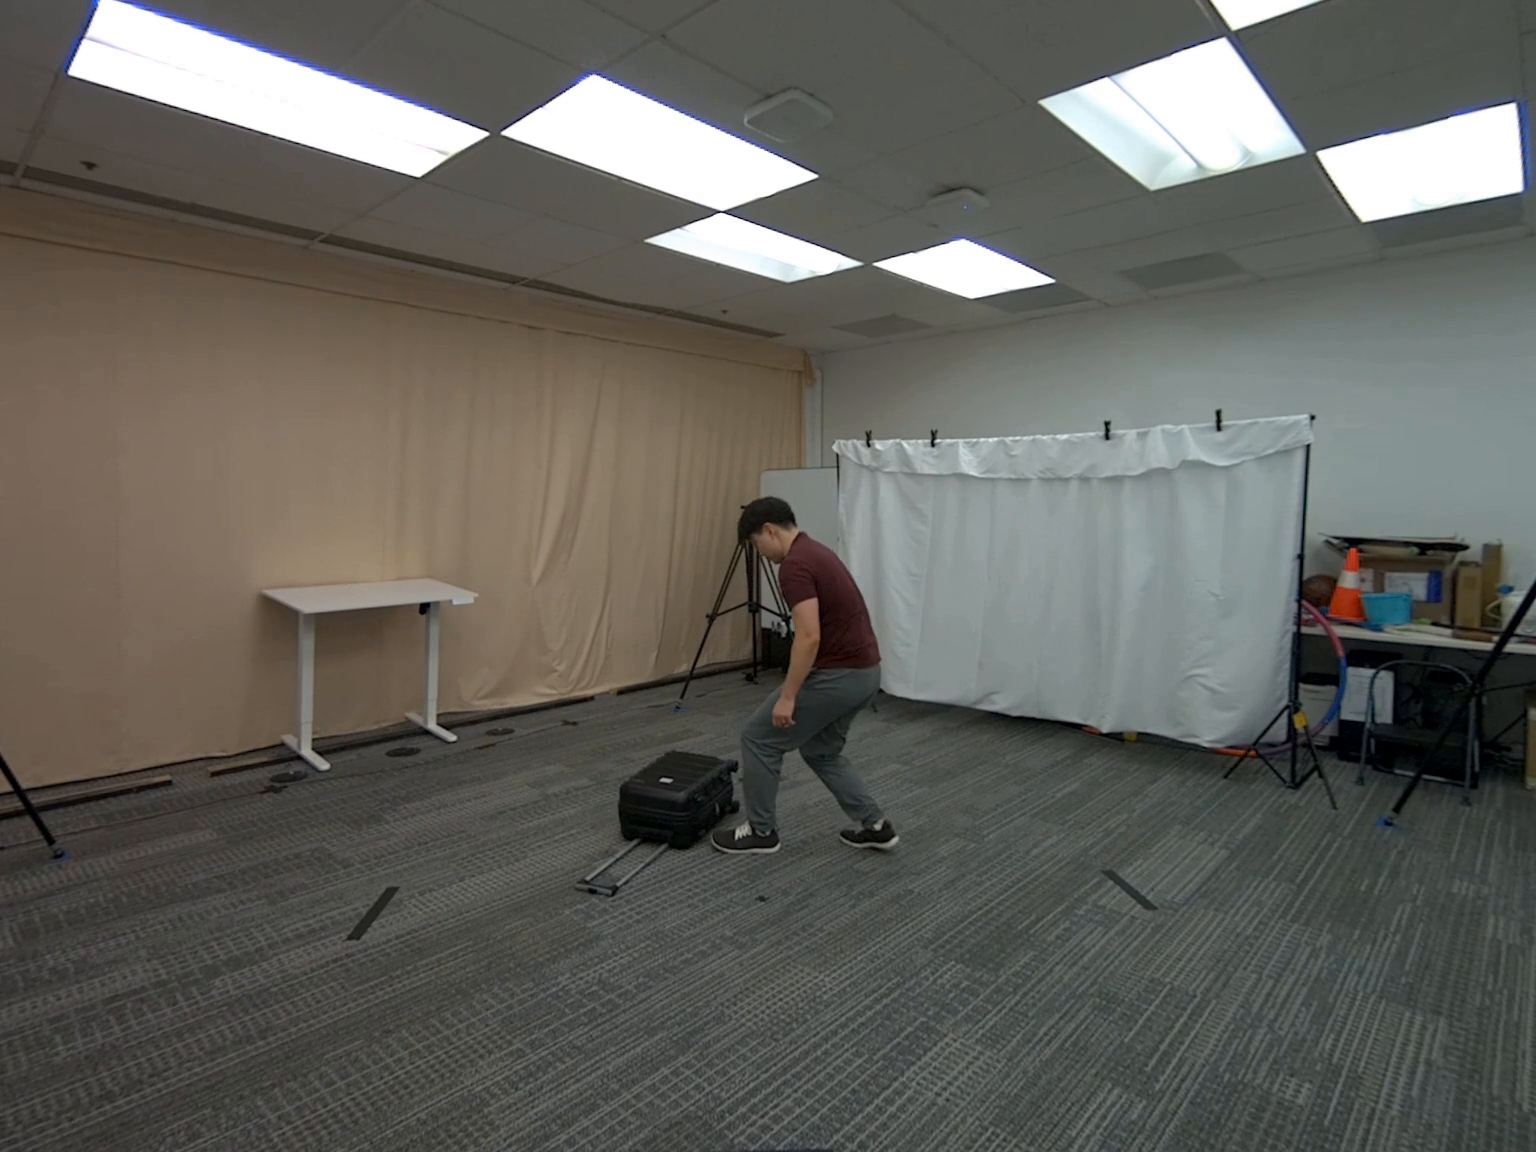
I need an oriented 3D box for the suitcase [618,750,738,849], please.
[{"bbox_3d":[-0.460,0.980,3.478,0.393,0.256,0.958,3,6,21],"label":"suitcase"}]
